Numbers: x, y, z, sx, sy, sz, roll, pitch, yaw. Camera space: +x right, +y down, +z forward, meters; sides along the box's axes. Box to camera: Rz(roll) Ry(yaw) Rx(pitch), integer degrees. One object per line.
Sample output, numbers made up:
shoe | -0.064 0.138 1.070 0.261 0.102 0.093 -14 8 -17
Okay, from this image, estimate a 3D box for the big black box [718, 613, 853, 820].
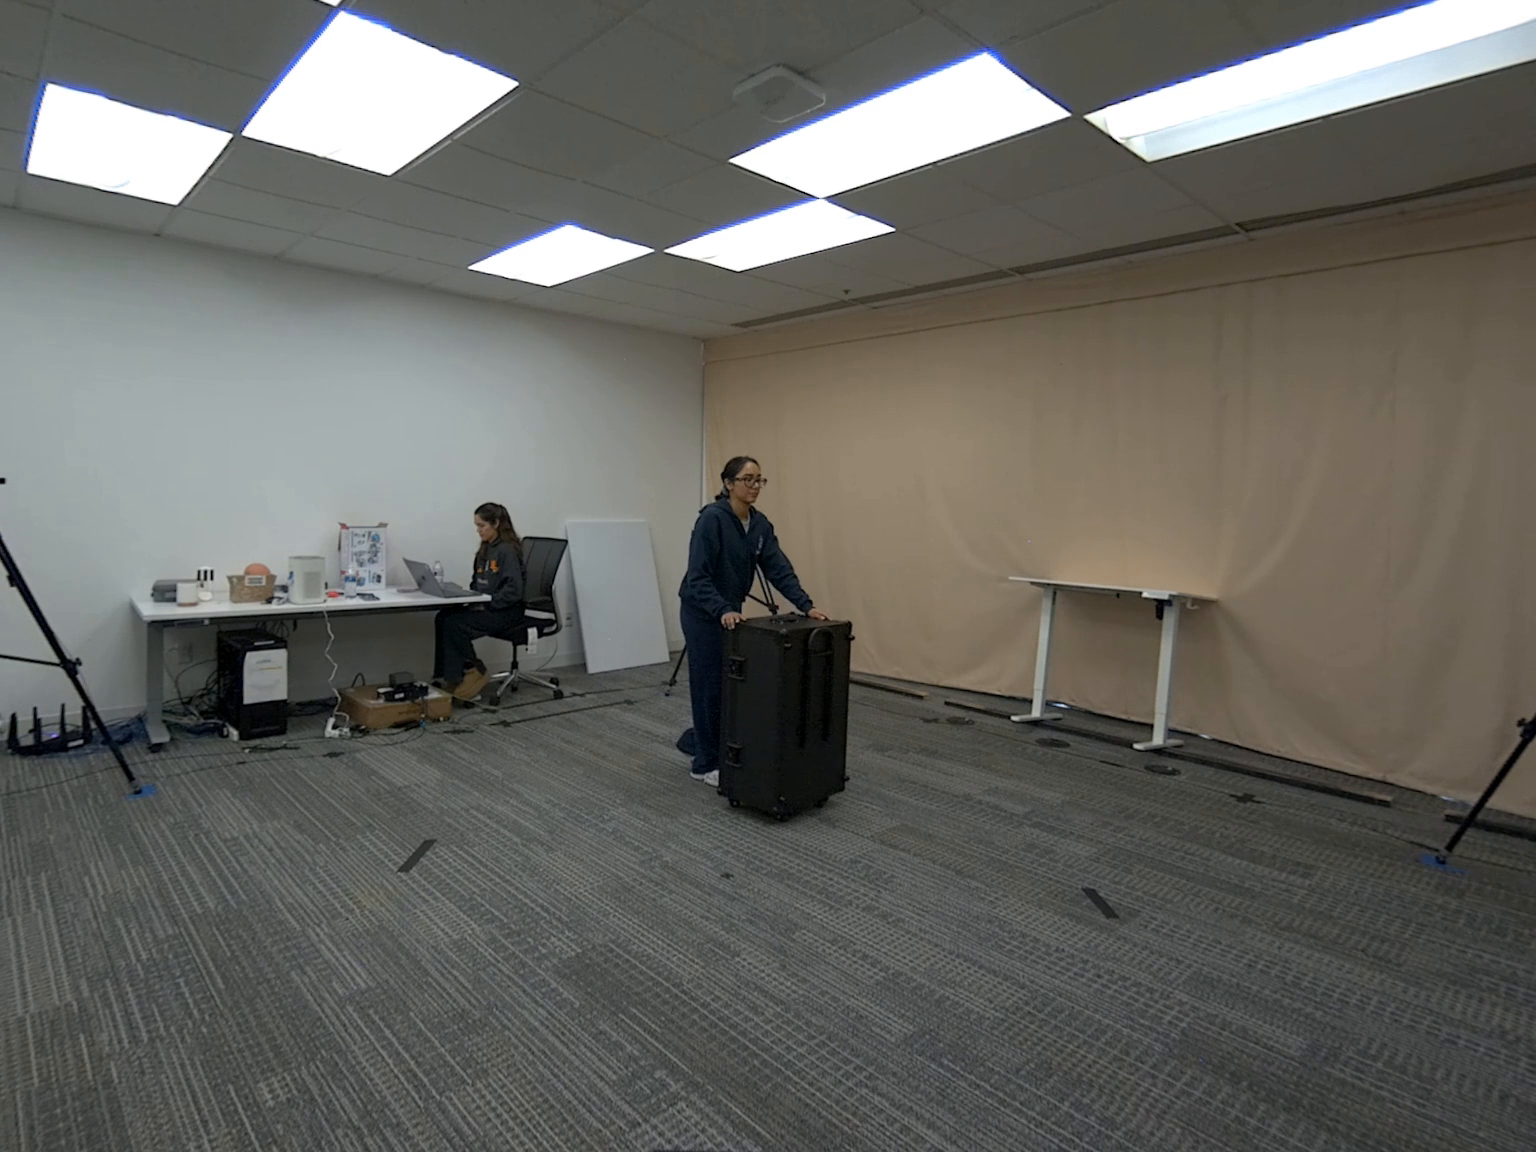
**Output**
big black box | 0.079 0.627 3.800 0.406 0.859 0.509 7 6 43
